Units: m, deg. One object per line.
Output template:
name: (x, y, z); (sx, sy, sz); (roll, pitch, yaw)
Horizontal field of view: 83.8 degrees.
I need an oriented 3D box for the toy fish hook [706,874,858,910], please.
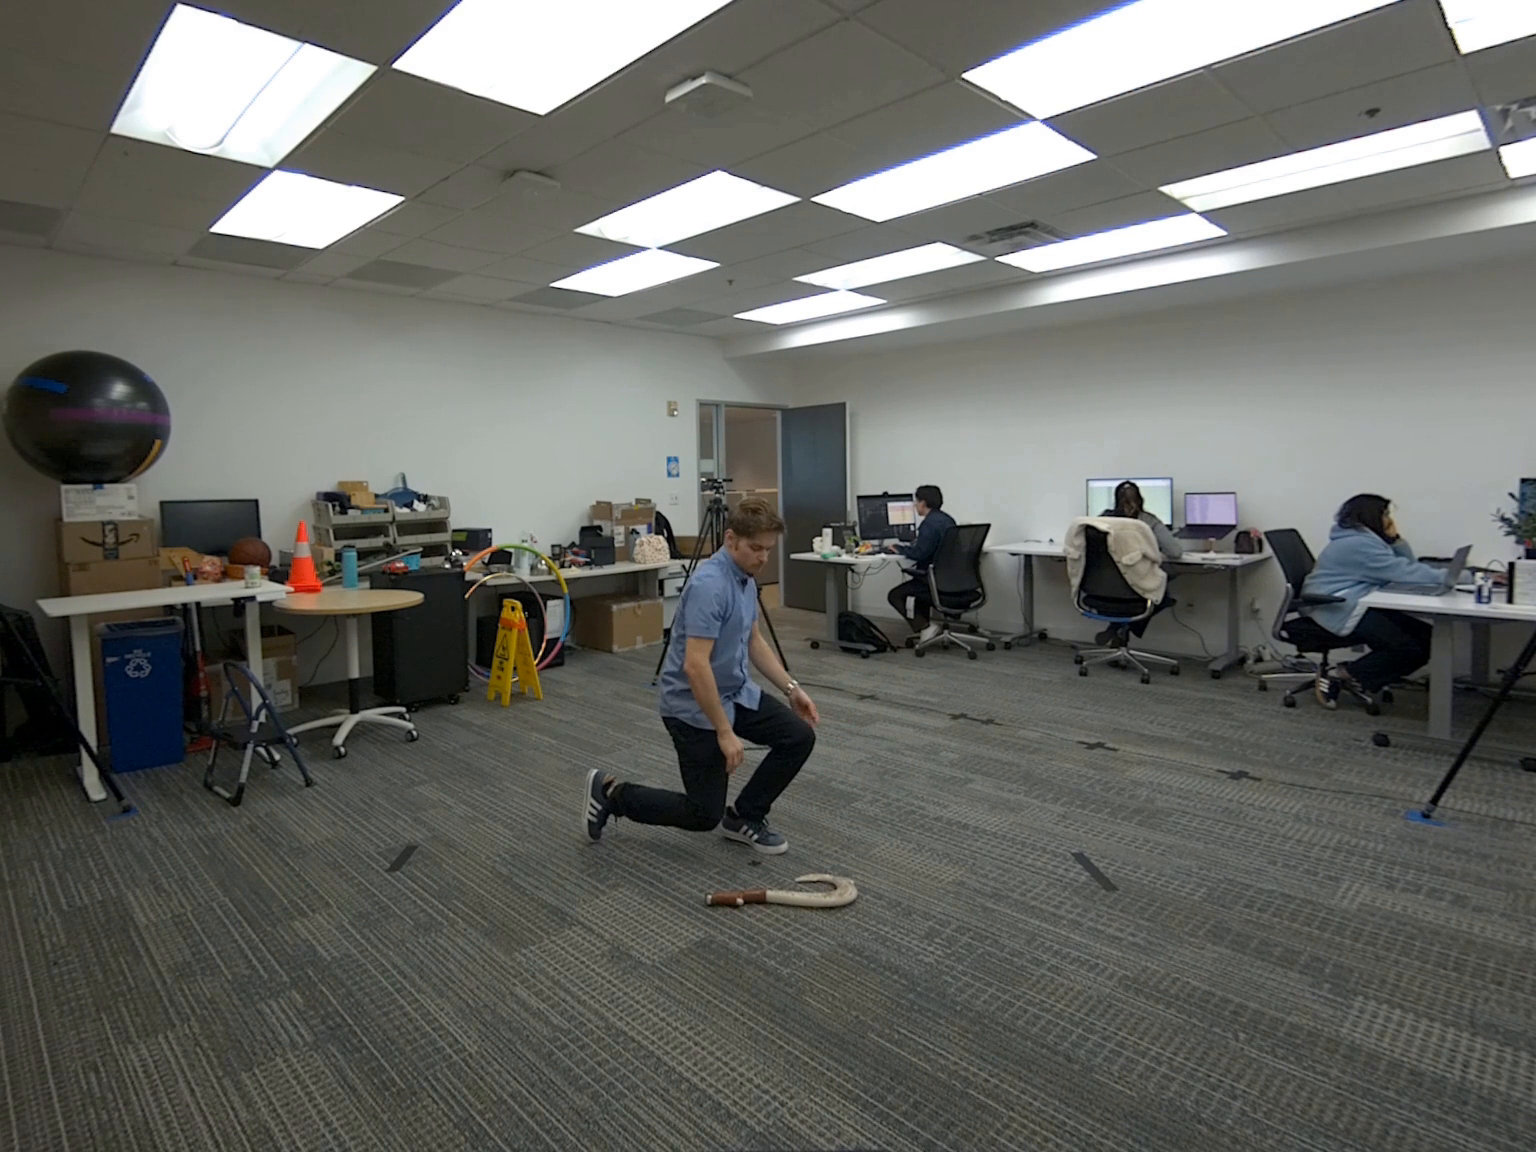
toy fish hook: (0.046, 1.054, 2.865); (0.506, 0.048, 0.224); (0, -2, -2)
